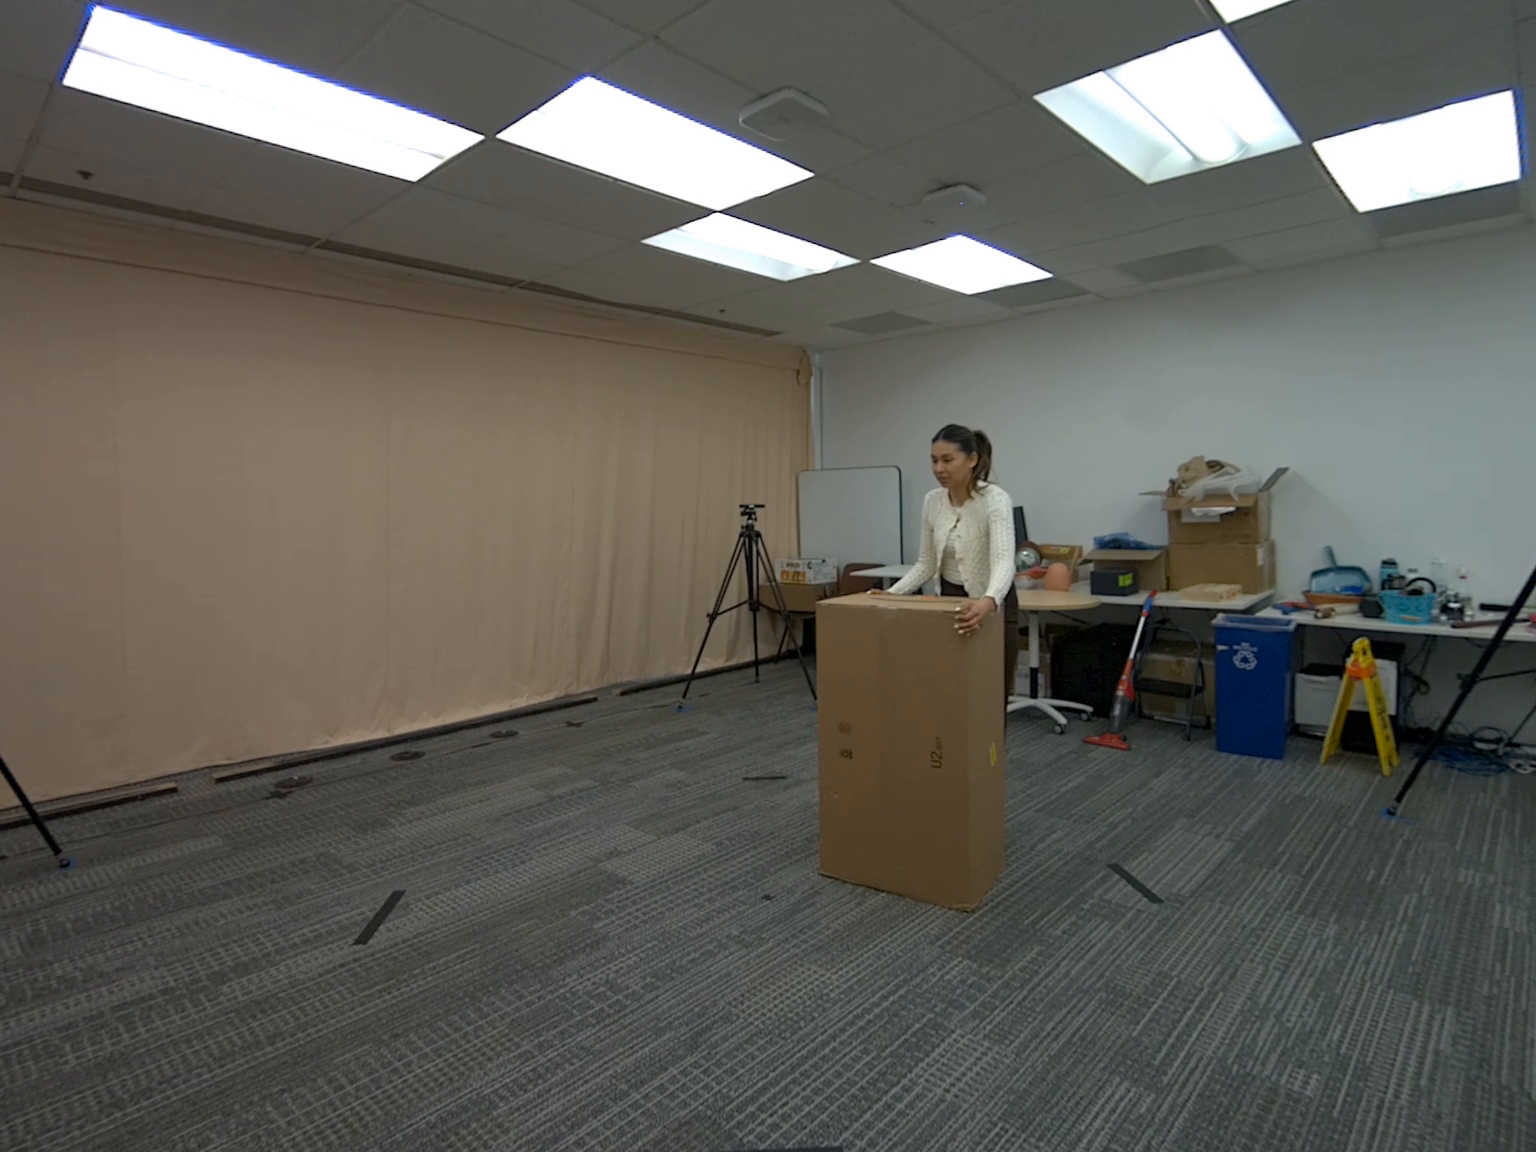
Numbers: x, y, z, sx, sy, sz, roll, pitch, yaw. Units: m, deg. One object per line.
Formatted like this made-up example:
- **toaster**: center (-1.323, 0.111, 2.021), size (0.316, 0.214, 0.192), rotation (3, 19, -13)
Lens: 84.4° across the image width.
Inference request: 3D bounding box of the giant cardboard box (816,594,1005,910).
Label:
- **giant cardboard box**: center (0.536, 0.605, 3.146), size (0.595, 1.024, 0.414), rotation (1, 4, 33)
